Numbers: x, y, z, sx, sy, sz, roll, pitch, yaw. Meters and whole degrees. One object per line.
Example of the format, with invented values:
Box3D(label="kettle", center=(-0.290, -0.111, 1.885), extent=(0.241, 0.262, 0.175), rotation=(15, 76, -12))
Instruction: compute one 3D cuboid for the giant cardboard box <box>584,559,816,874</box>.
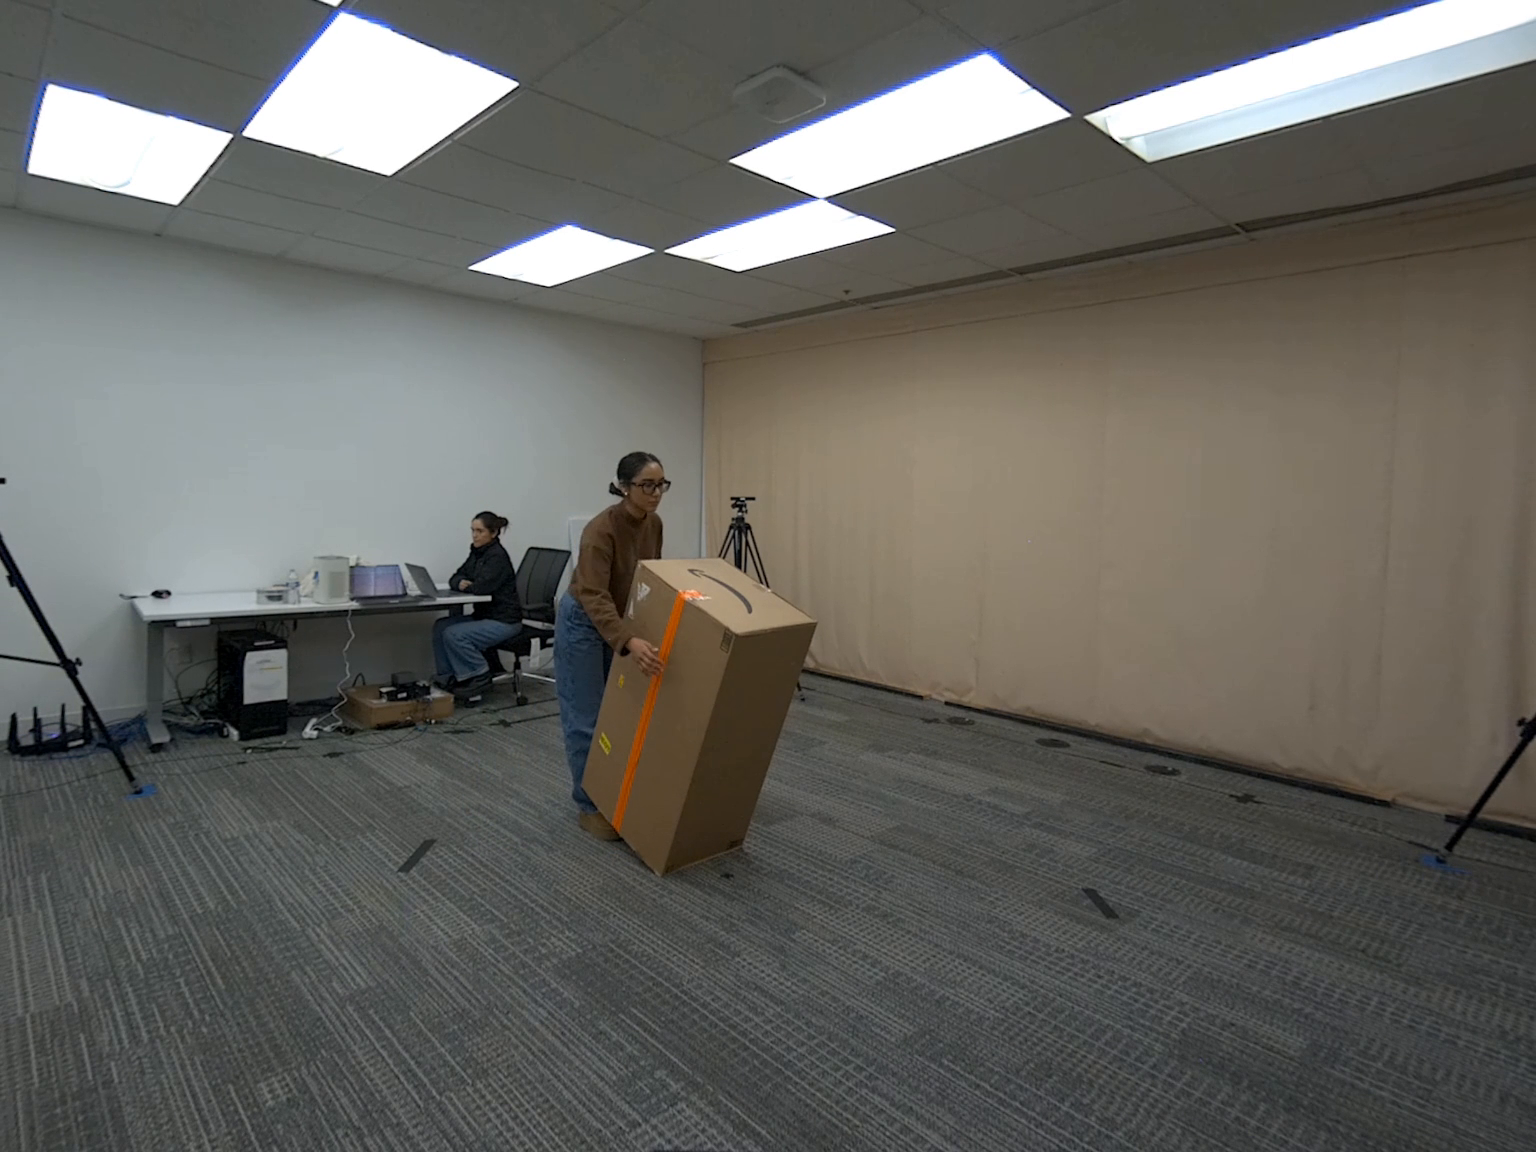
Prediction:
Box3D(label="giant cardboard box", center=(-0.299, 0.516, 3.247), extent=(0.416, 1.017, 0.596), rotation=(-2, 26, -45))
